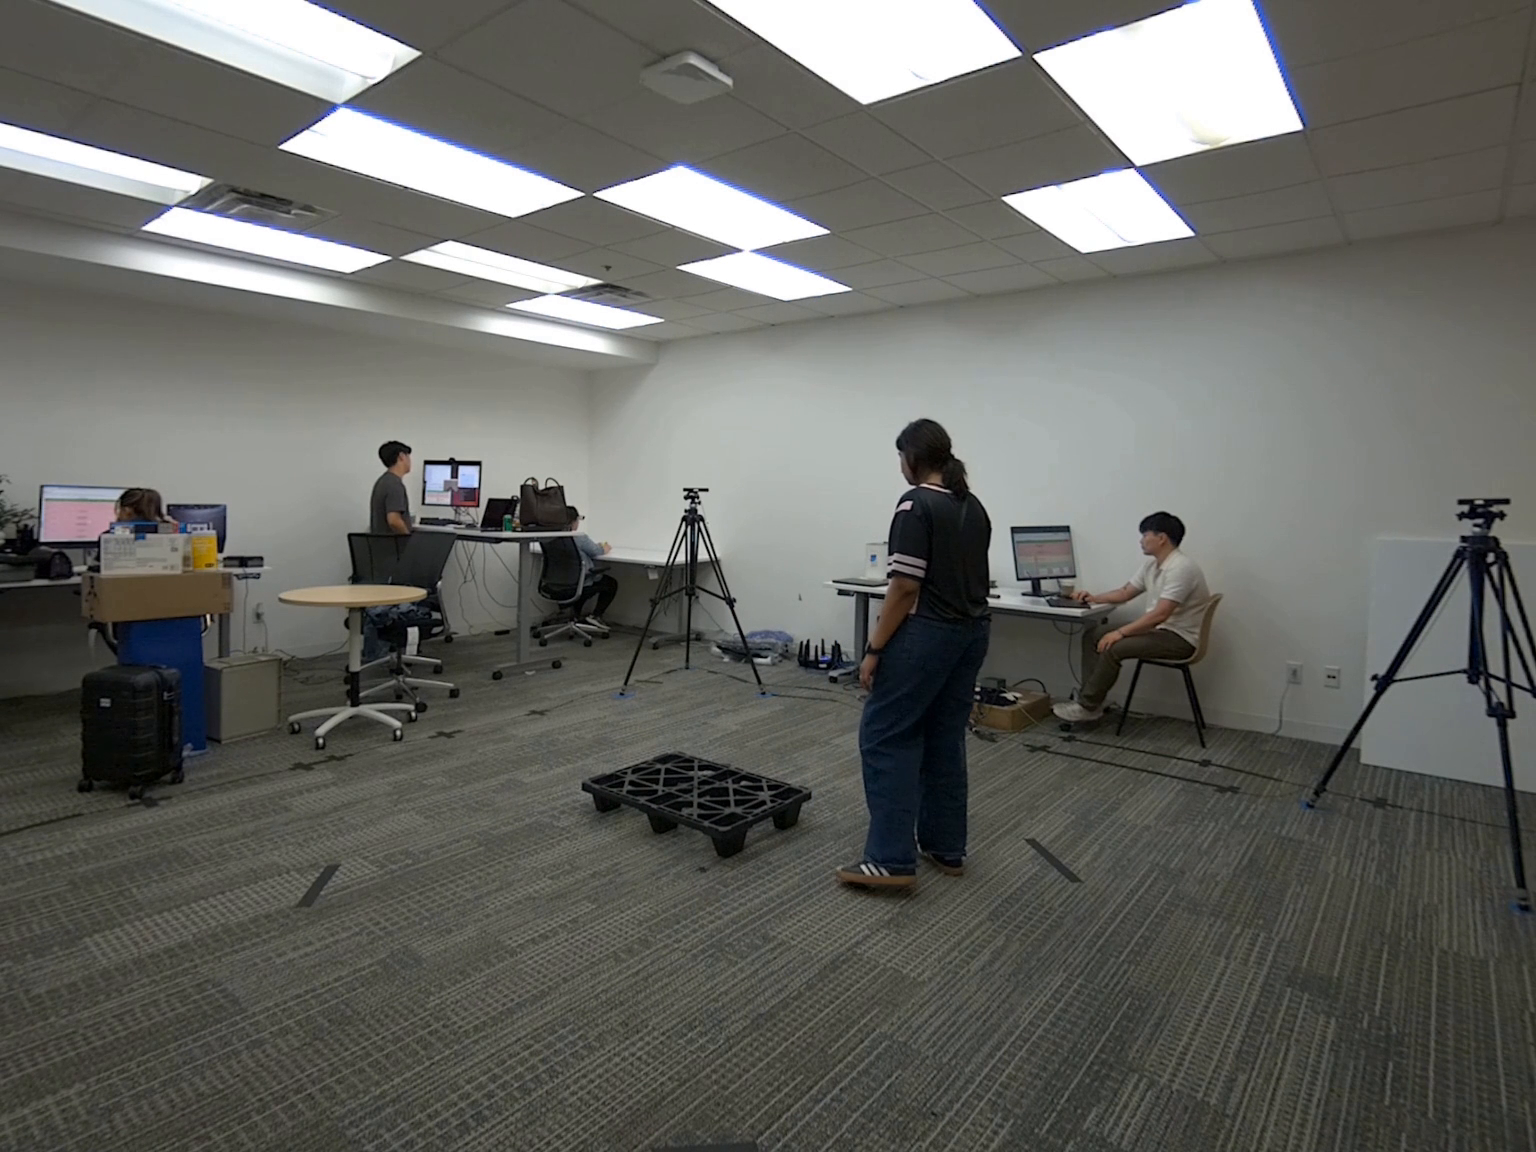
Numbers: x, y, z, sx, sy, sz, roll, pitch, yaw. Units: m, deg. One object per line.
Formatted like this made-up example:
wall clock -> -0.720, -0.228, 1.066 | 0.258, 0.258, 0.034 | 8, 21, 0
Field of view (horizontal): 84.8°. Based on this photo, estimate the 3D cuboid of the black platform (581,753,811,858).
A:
black platform -> -0.317, 0.953, 3.602 | 0.832, 0.143, 0.588 | 5, 7, 38
